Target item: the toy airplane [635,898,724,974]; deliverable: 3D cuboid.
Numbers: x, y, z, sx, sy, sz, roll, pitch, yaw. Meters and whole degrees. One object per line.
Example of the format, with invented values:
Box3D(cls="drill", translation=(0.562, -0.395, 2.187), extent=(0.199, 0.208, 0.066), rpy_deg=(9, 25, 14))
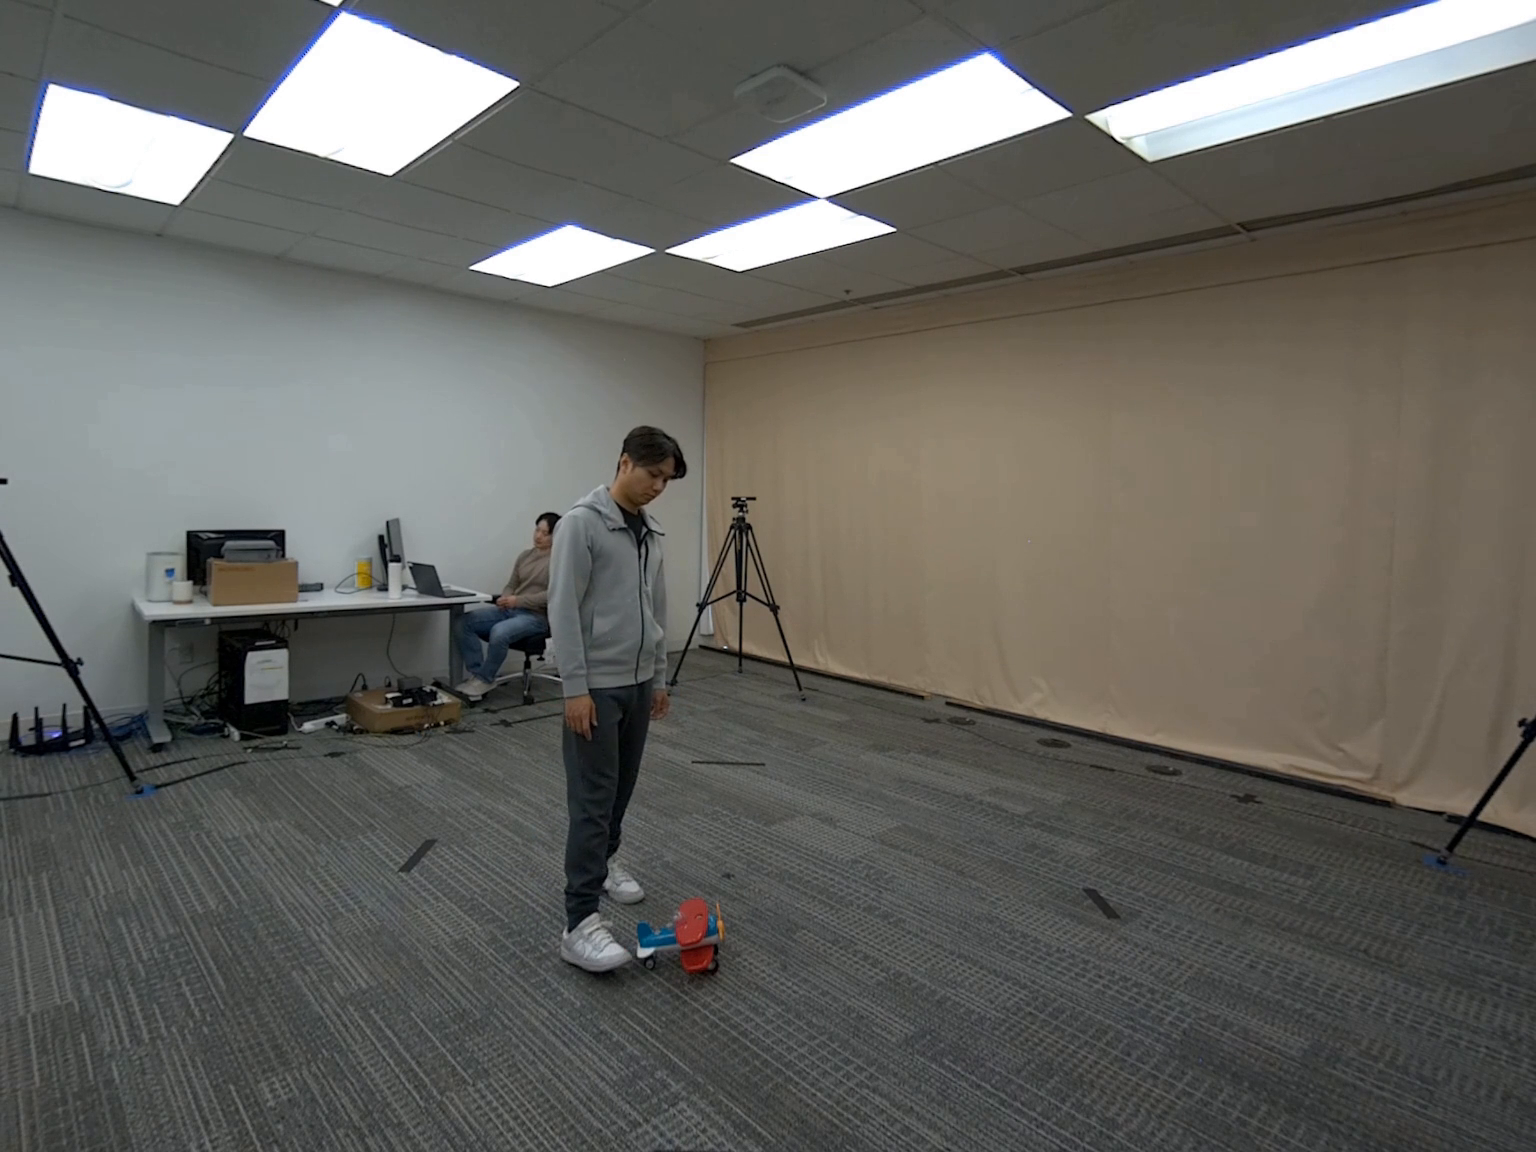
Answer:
Box3D(cls="toy airplane", translation=(-0.262, 1.090, 2.477), extent=(0.254, 0.156, 0.257), rpy_deg=(-1, 6, -31))
